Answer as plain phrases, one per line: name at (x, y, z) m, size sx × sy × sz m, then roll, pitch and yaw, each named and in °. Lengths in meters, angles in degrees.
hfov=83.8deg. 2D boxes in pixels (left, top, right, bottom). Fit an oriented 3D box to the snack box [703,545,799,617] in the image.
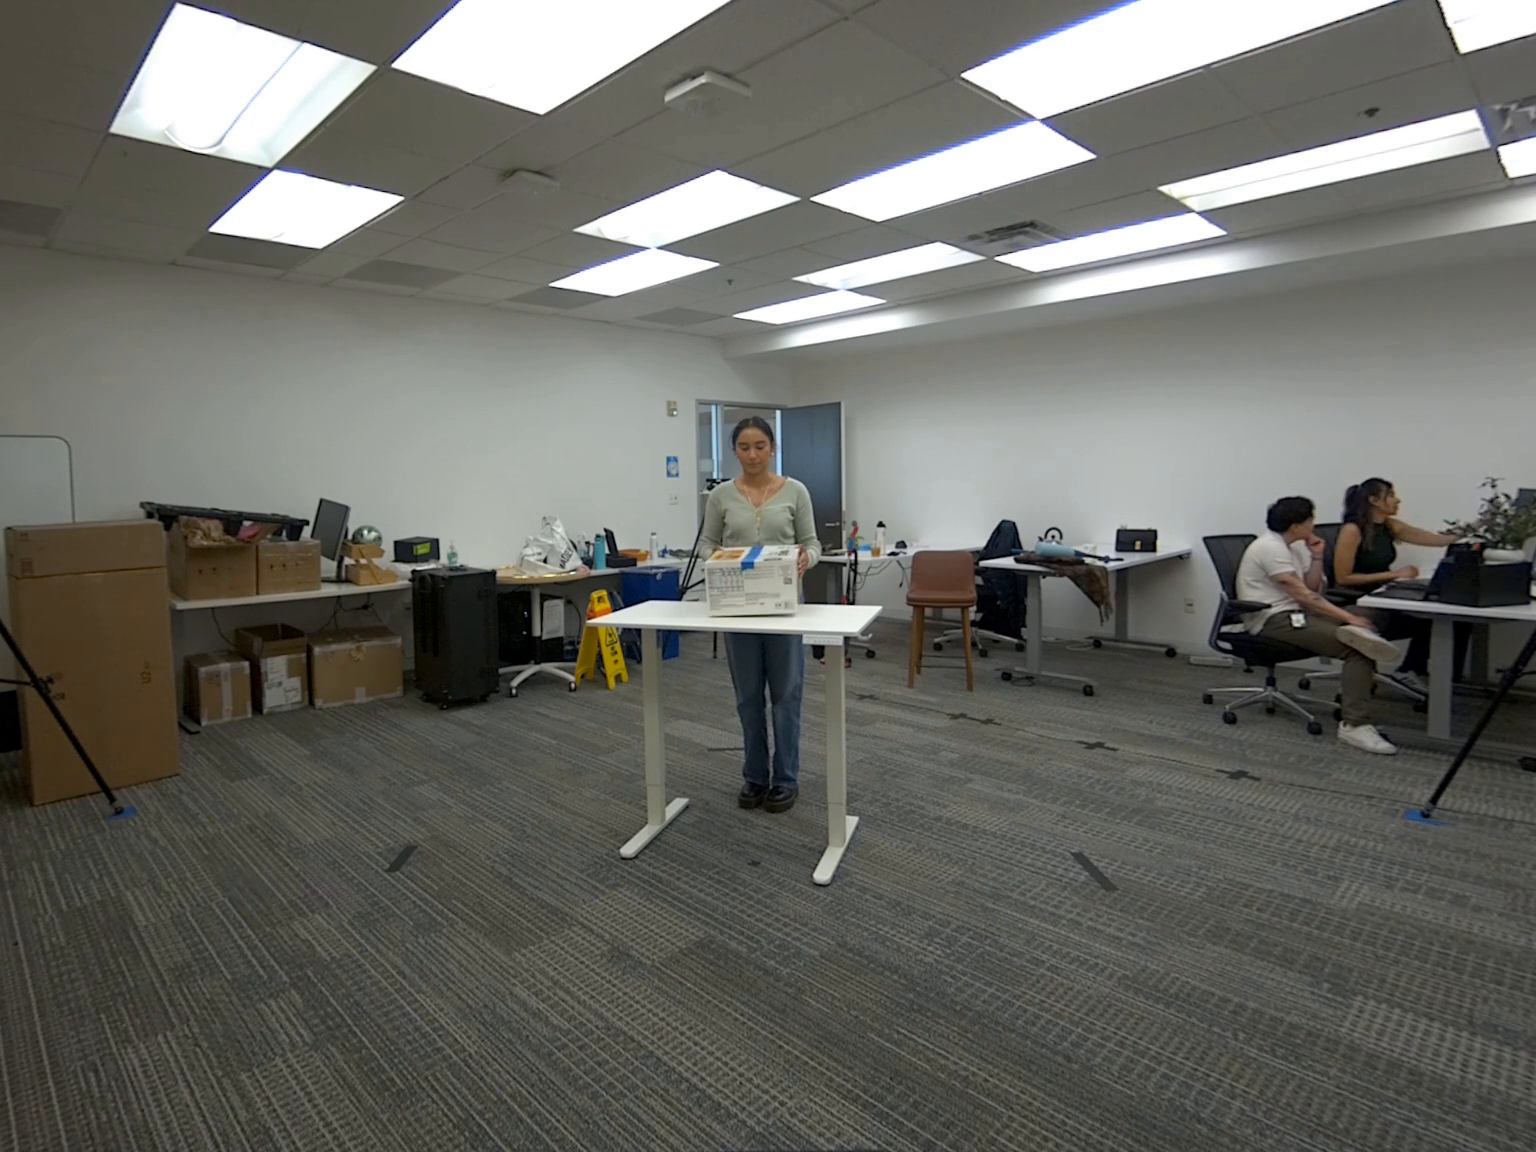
snack box at (-0.048, 0.014, 3.351) m, size 0.343 × 0.204 × 0.405 m, roll -3°, pitch 9°, yaw 7°
